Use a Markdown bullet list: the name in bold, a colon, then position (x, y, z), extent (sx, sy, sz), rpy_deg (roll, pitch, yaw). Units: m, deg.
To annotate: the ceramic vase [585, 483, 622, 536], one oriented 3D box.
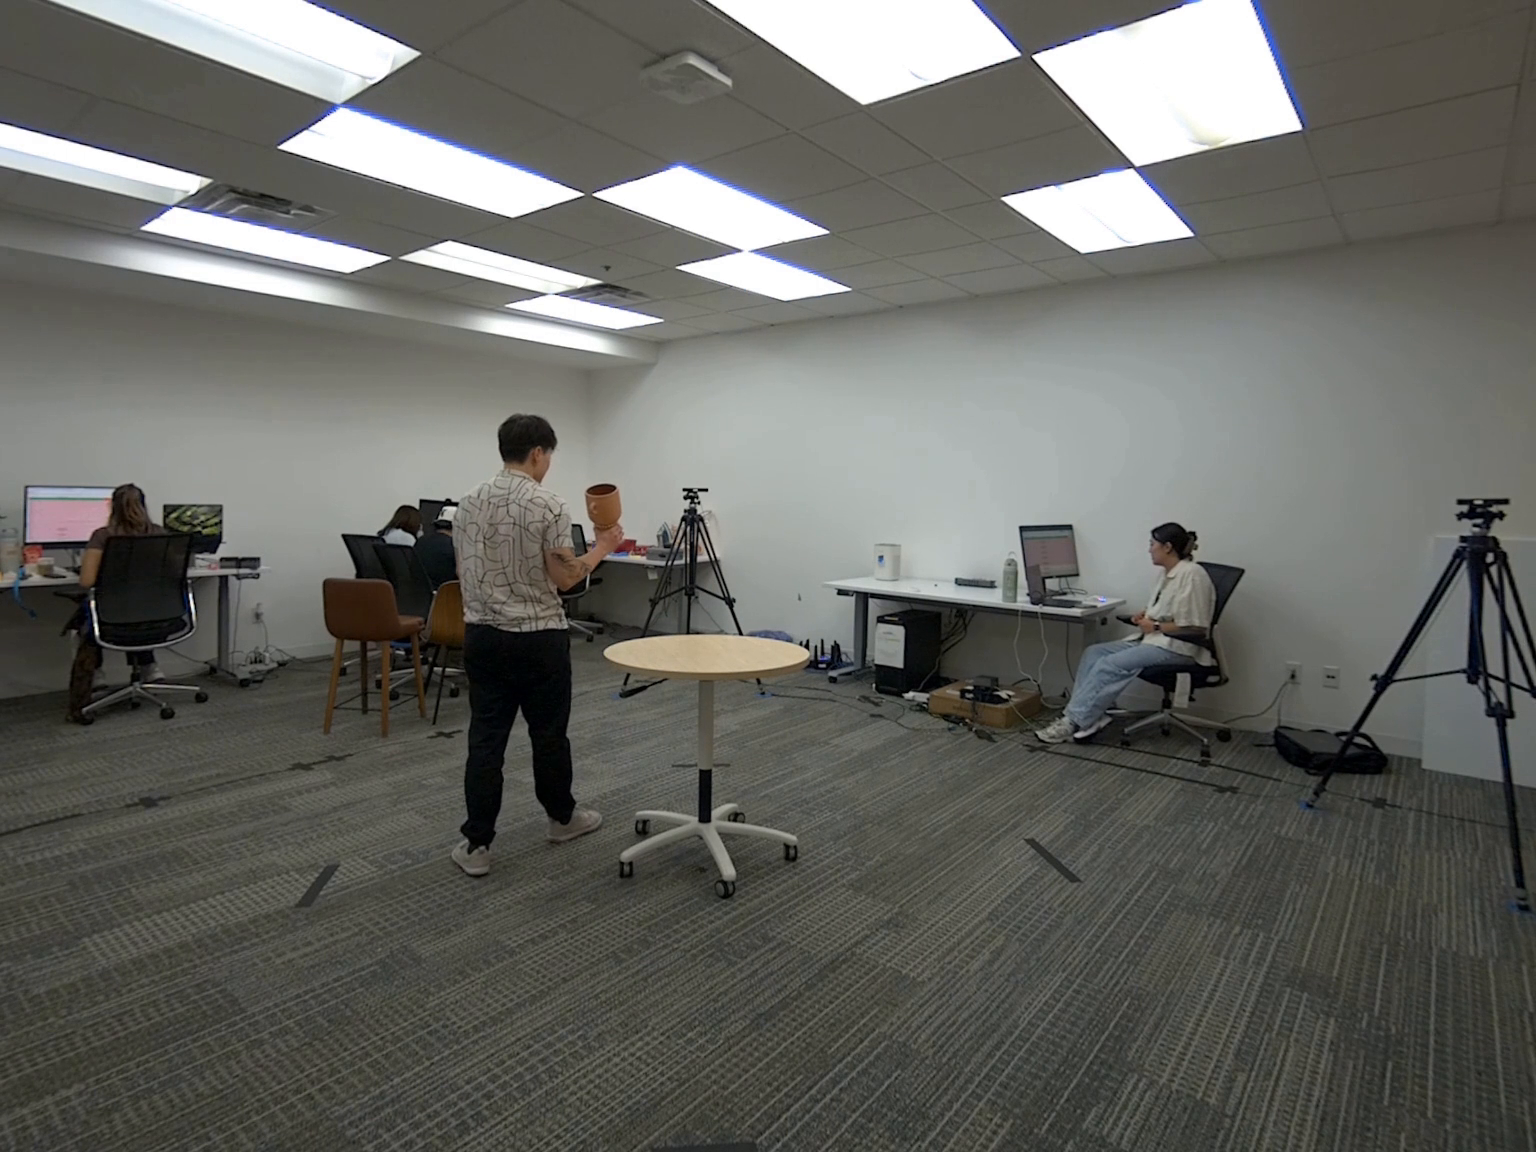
- **ceramic vase**: position (-0.657, -0.245, 3.340), extent (0.156, 0.215, 0.140), rpy_deg (-16, 28, -25)
